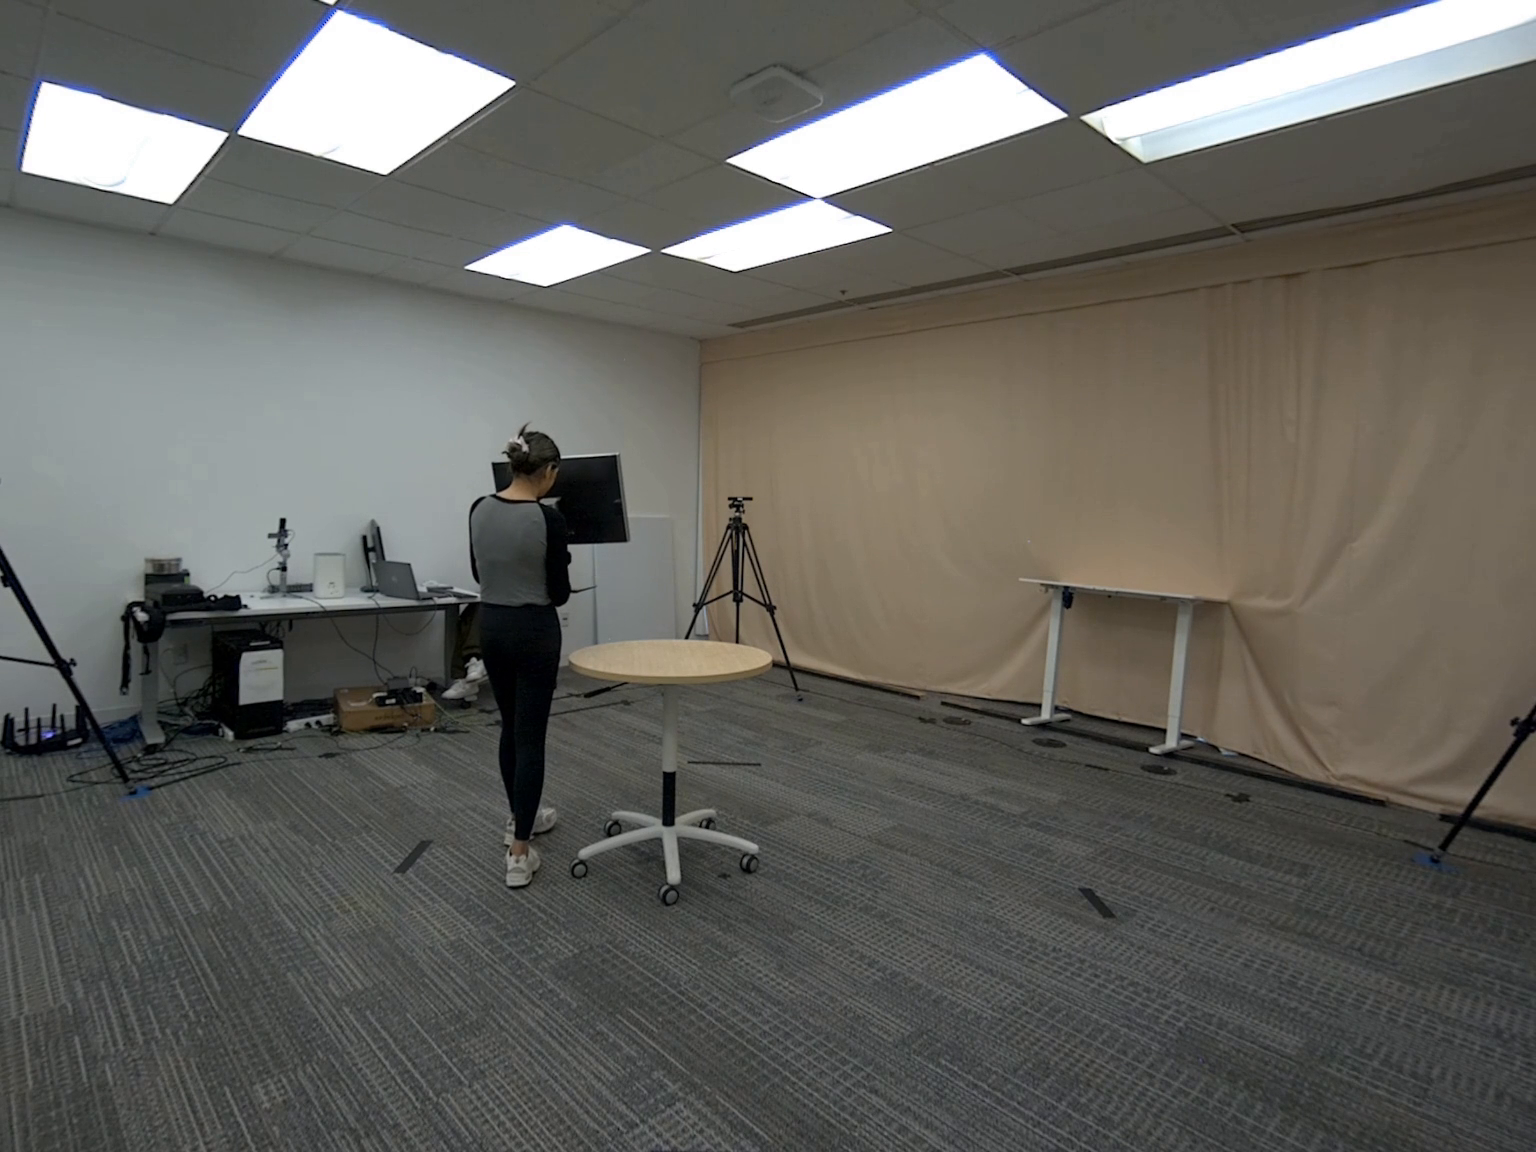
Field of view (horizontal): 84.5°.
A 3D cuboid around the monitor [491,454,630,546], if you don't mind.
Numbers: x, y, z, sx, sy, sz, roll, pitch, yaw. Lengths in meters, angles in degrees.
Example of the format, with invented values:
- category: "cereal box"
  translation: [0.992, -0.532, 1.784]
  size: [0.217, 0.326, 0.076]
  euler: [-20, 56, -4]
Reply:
- category: "monitor"
  translation: [-0.860, -0.204, 3.394]
  size: [0.543, 0.521, 0.186]
  euler: [-2, 4, 10]
